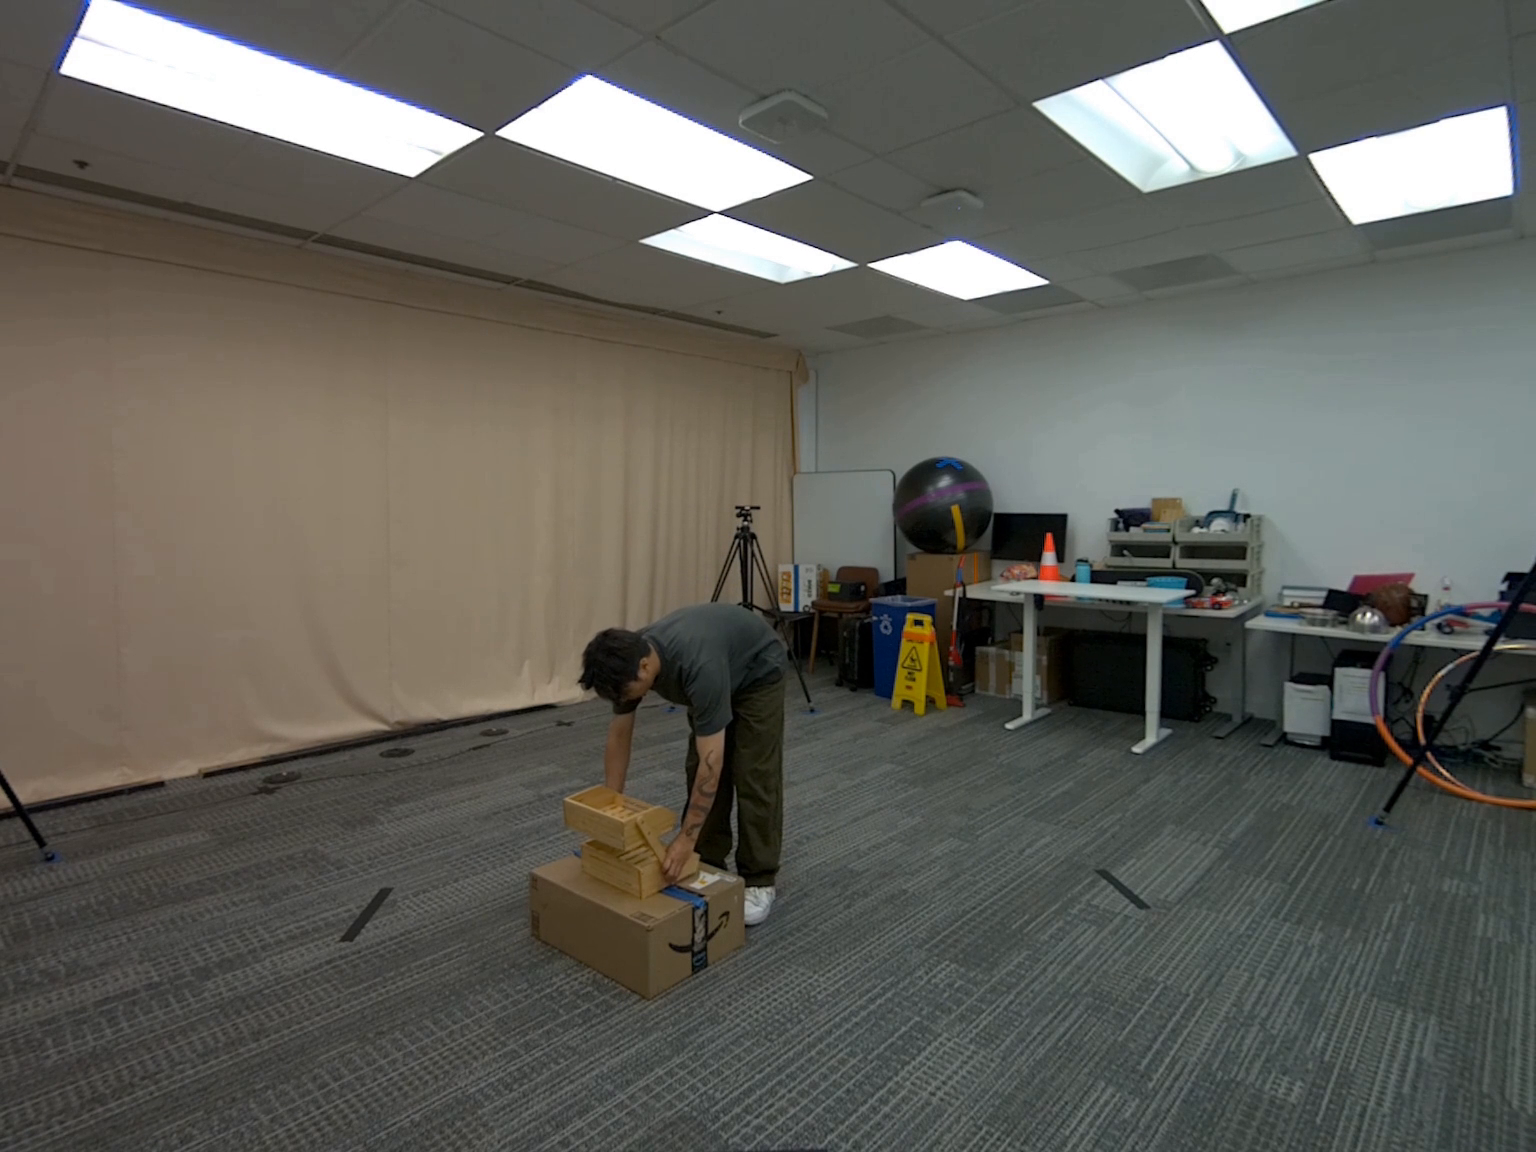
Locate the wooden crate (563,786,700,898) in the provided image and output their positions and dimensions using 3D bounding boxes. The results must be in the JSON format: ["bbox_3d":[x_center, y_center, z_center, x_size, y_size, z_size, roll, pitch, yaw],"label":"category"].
[{"bbox_3d":[-0.439,0.823,2.684,0.335,0.272,0.293,2,8,42],"label":"wooden crate"}]
